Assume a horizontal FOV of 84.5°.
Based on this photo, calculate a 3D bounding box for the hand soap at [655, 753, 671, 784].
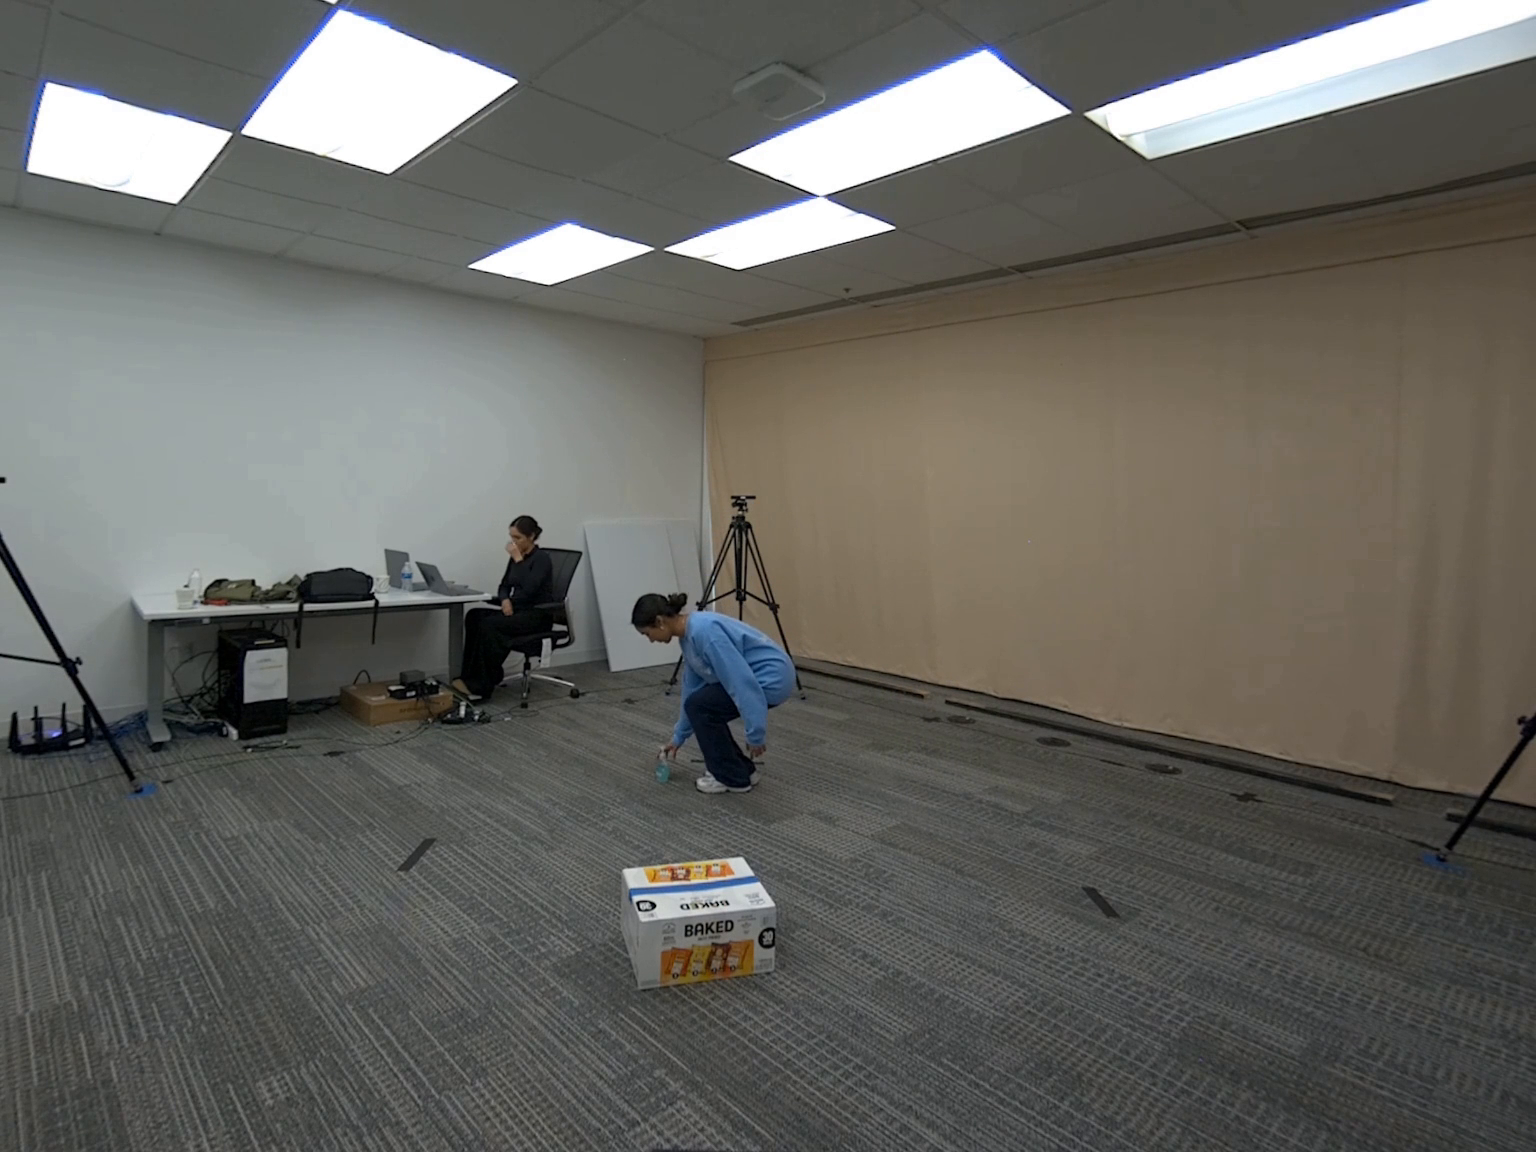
[{"bbox_3d":[-0.521,0.919,4.118,0.042,0.168,0.087,2,4,-43],"label":"hand soap"}]
